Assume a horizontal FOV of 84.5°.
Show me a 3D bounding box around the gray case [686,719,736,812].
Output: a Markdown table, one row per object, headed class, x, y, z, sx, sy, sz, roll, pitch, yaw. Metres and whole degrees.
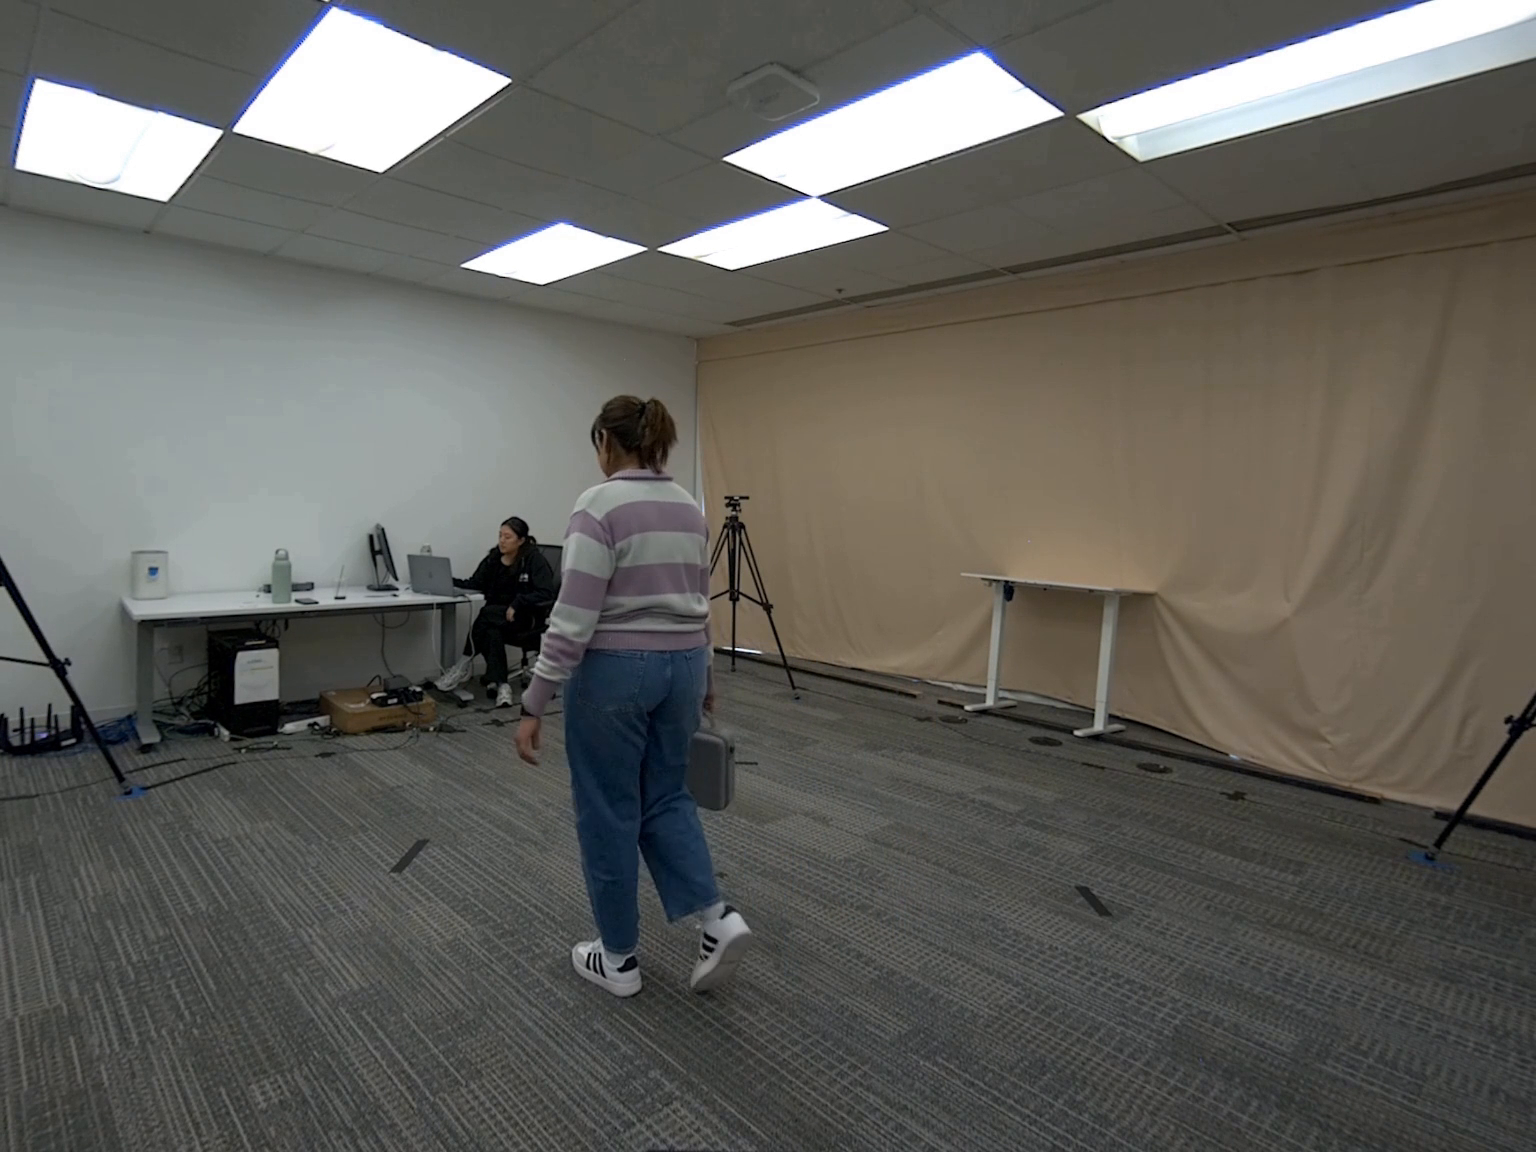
| class | x | y | z | sx | sy | sz | roll | pitch | yaw |
| --- | --- | --- | --- | --- | --- | --- | --- | --- | --- |
| gray case | -0.238 | 0.602 | 2.699 | 0.262 | 0.259 | 0.103 | 7 | 10 | 25 |
